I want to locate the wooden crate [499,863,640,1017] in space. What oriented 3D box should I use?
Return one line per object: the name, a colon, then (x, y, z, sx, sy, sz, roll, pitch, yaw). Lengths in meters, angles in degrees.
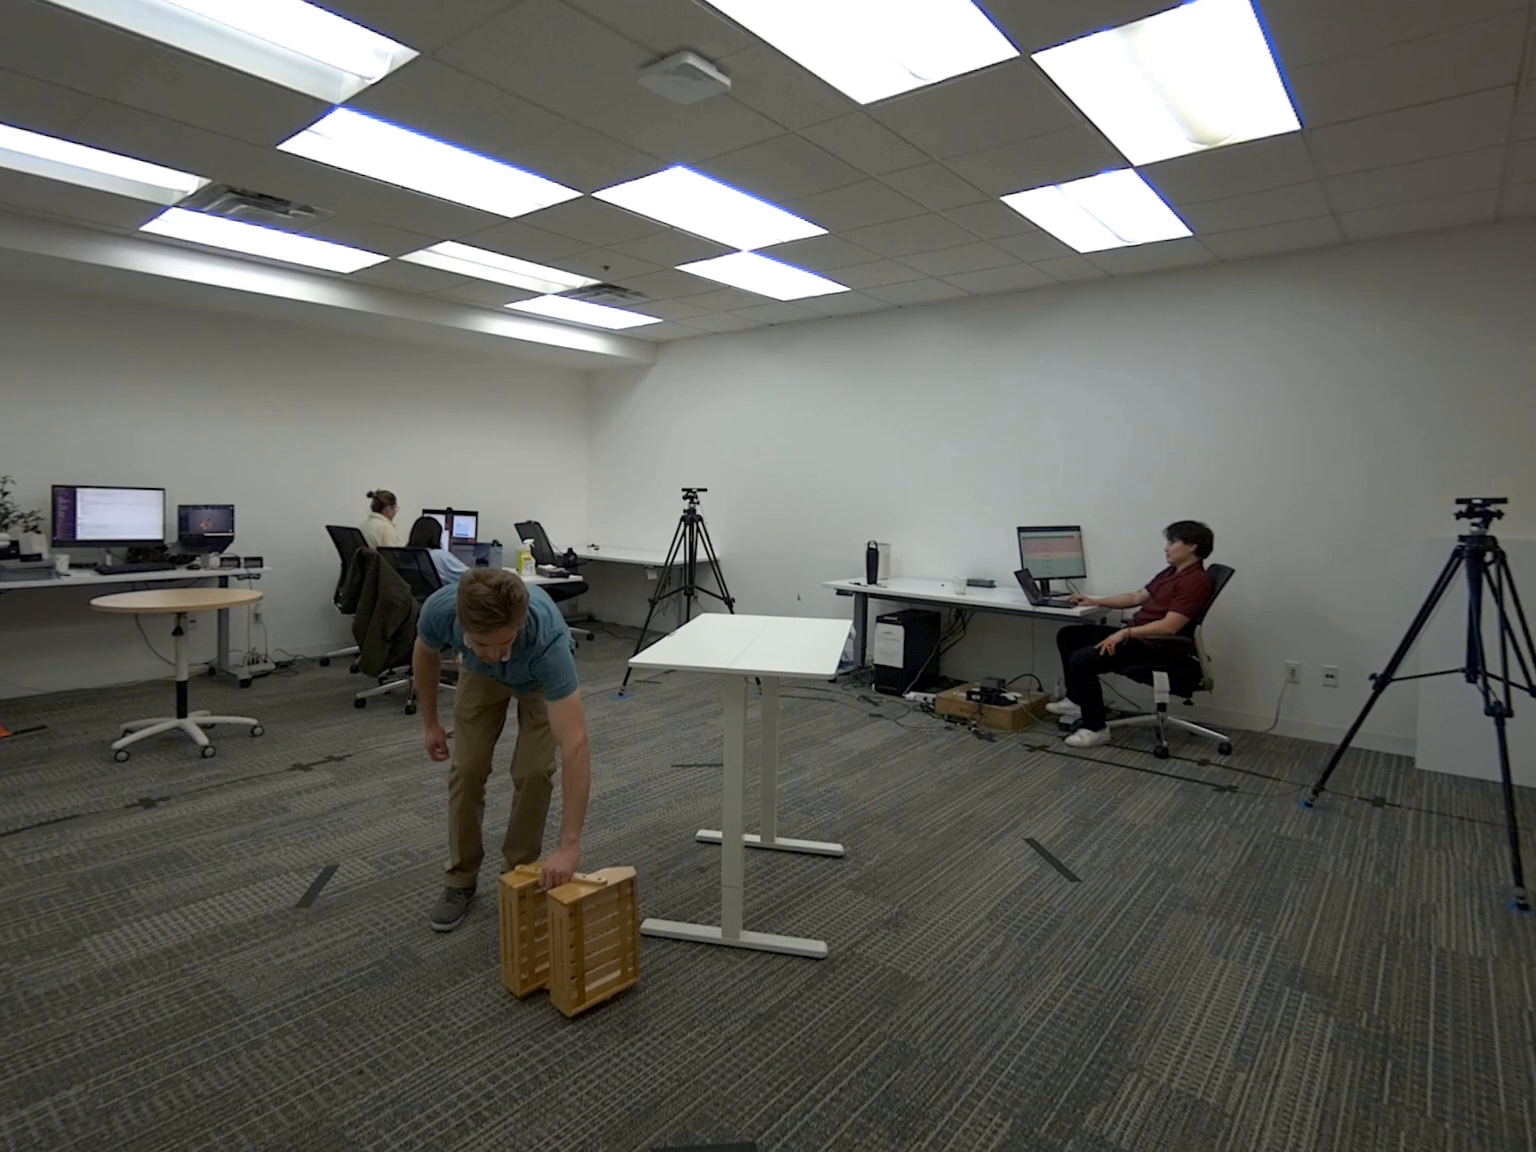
wooden crate: (-0.554, 0.963, 2.338, 0.282, 0.323, 0.293, 4, 7, 44)
